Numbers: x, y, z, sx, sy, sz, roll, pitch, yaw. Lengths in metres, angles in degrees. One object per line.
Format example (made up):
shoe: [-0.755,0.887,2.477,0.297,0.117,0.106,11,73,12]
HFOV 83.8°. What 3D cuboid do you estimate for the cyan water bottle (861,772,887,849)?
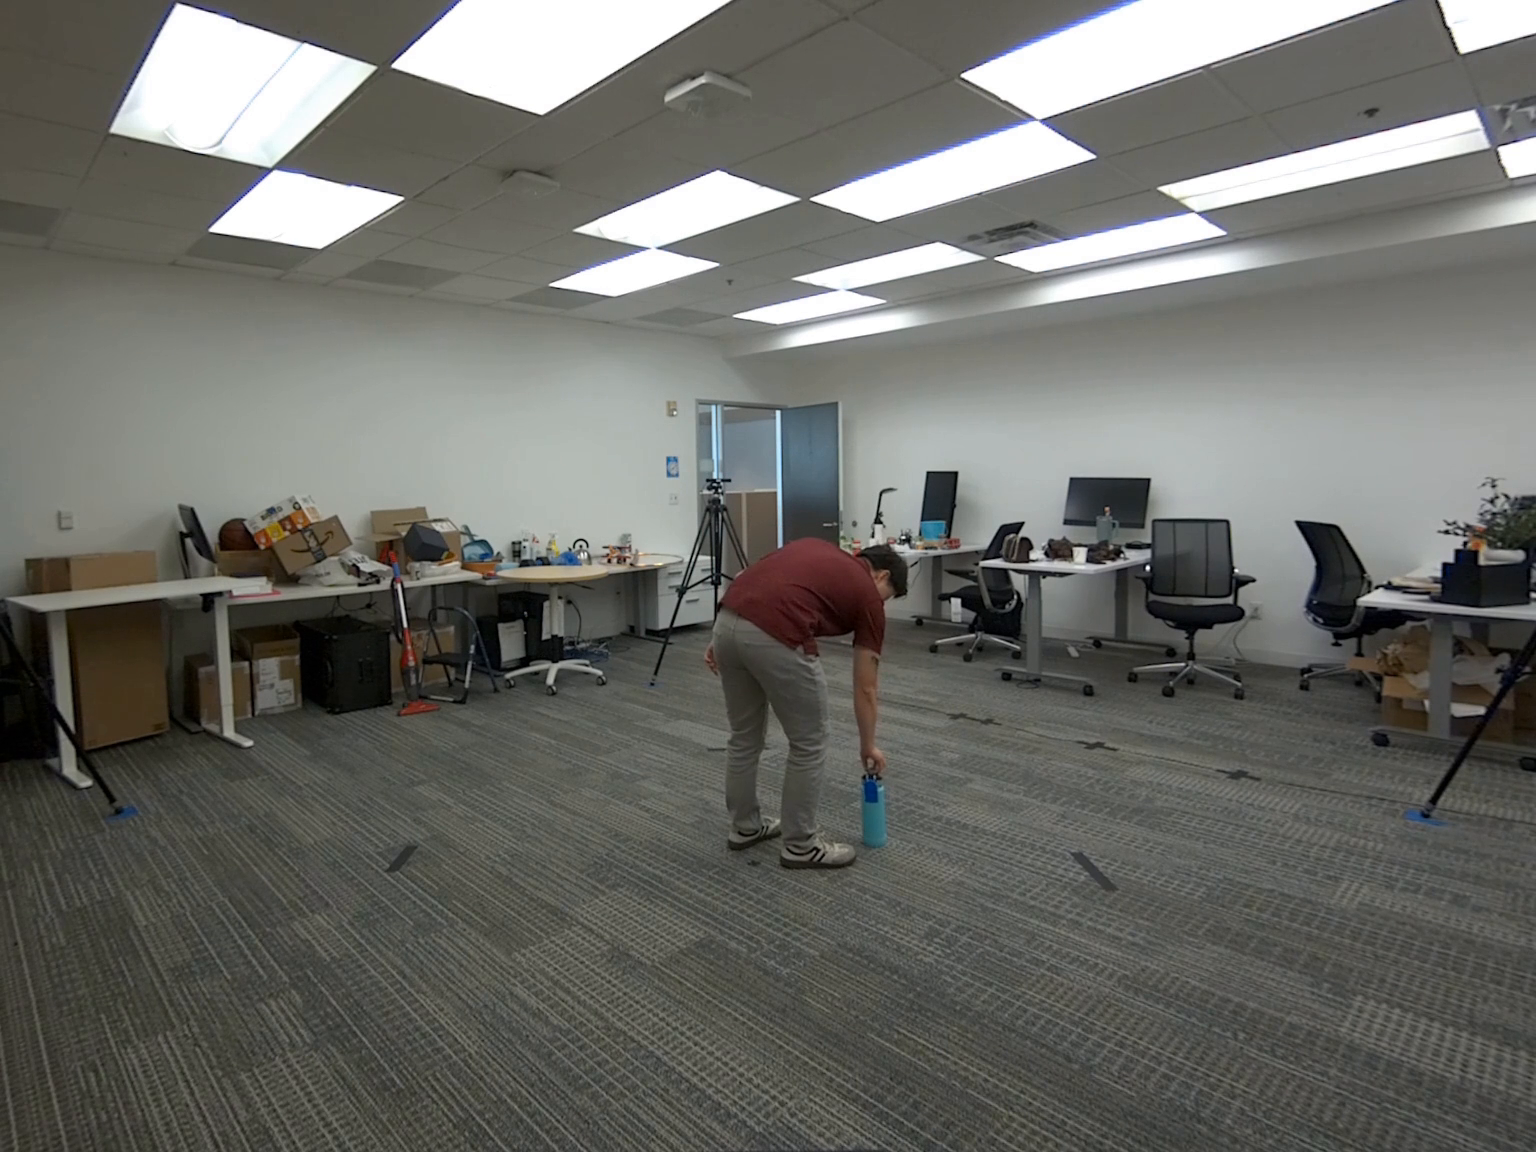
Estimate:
cyan water bottle: [0.399,0.874,3.246,0.092,0.282,0.093,-4,4,-1]
